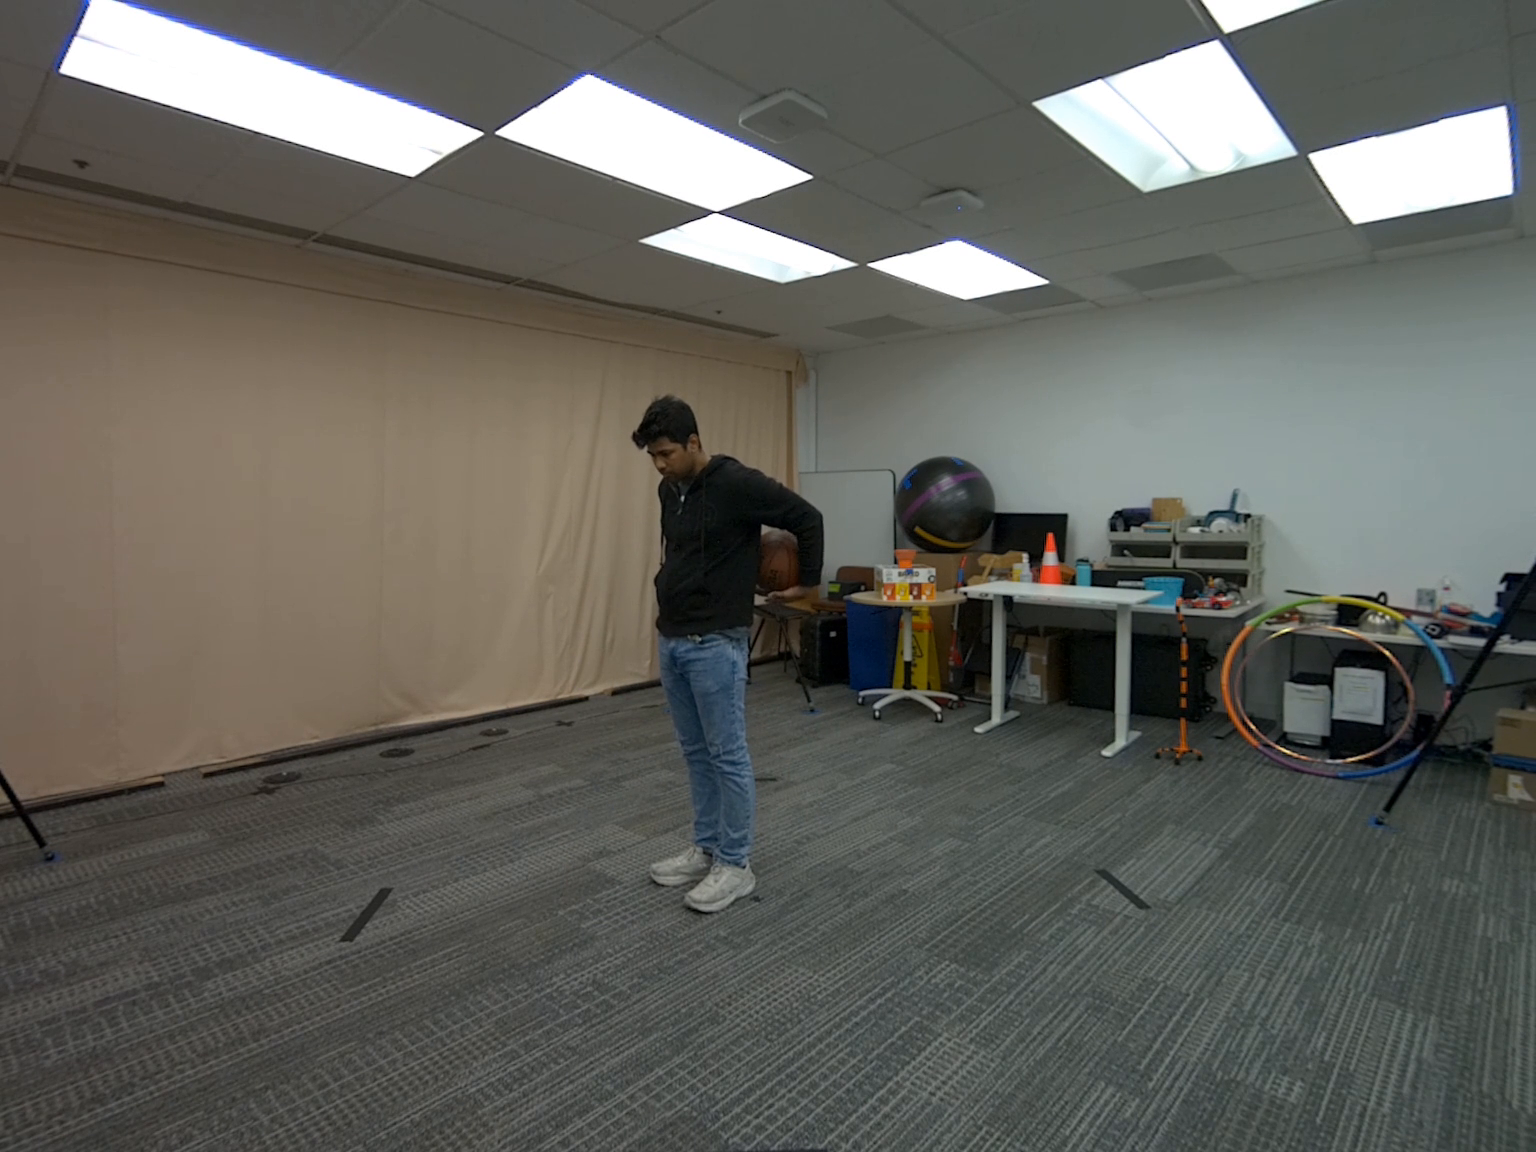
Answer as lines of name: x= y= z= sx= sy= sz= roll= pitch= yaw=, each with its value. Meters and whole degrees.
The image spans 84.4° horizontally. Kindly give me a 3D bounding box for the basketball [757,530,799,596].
basketball: x=0.025 y=-0.051 z=3.106 sx=0.236 sy=0.235 sz=0.237 roll=0 pitch=4 yaw=-2
